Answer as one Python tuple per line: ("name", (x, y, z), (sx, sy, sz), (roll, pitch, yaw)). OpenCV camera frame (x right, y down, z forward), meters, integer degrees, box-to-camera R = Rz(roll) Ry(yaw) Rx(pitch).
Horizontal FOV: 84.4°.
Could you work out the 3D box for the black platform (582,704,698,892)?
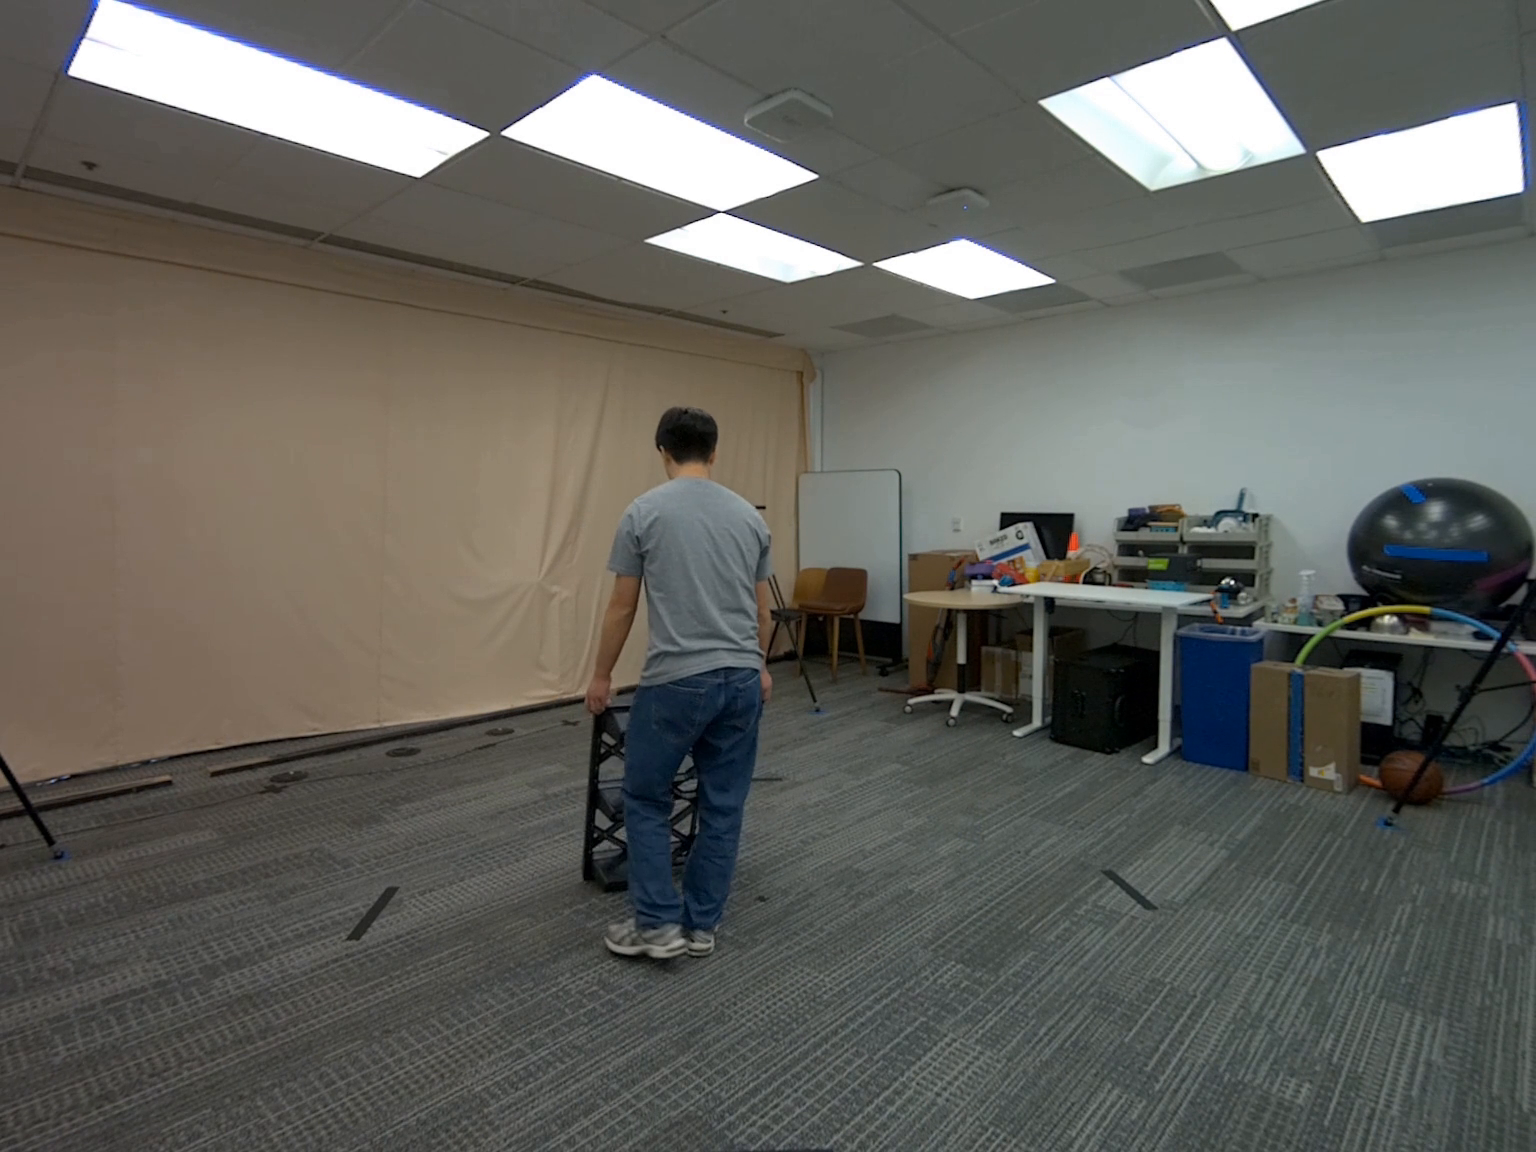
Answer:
("black platform", (-0.337, 0.788, 3.000), (0.594, 0.796, 0.147), (-1, 28, -17))
